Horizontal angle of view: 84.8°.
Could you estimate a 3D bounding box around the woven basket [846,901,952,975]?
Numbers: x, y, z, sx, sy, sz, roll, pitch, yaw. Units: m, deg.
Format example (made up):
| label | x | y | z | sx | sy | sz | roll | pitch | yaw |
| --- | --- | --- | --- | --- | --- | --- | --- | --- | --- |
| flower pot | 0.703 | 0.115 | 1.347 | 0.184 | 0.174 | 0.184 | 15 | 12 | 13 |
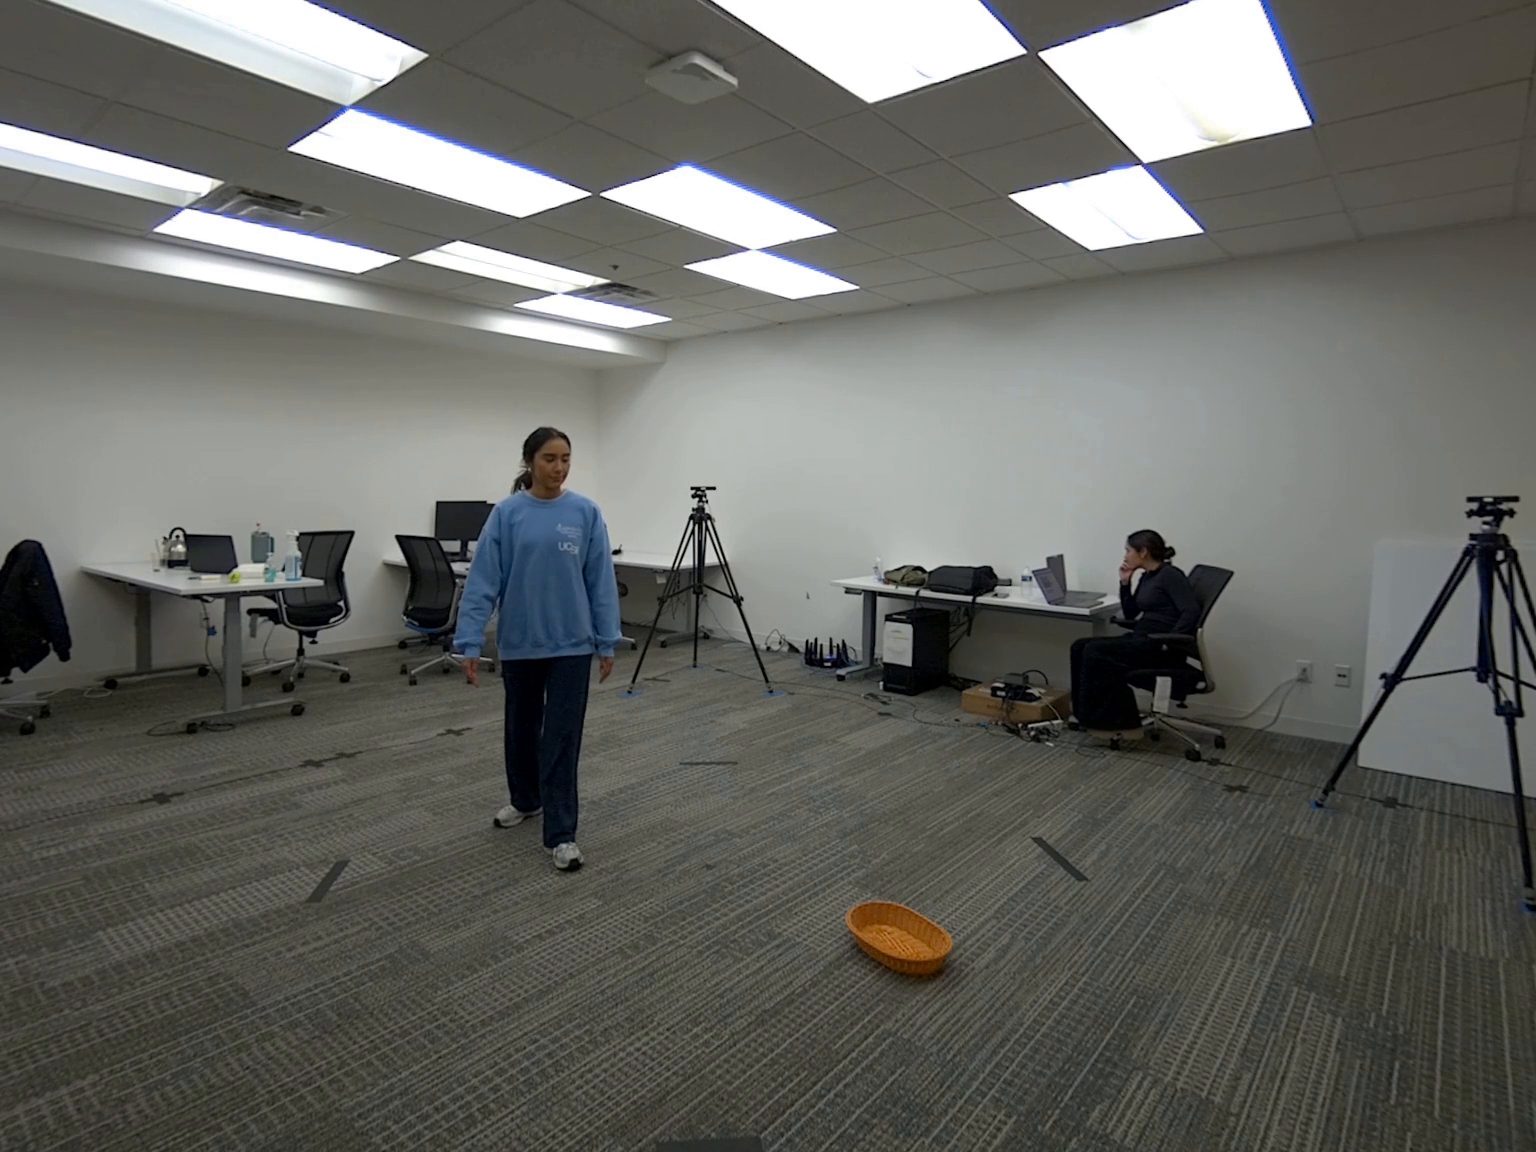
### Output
| label | x | y | z | sx | sy | sz | roll | pitch | yaw |
| --- | --- | --- | --- | --- | --- | --- | --- | --- | --- |
| woven basket | 0.380 | 1.088 | 2.569 | 0.246 | 0.073 | 0.361 | -3 | 7 | -30 |
